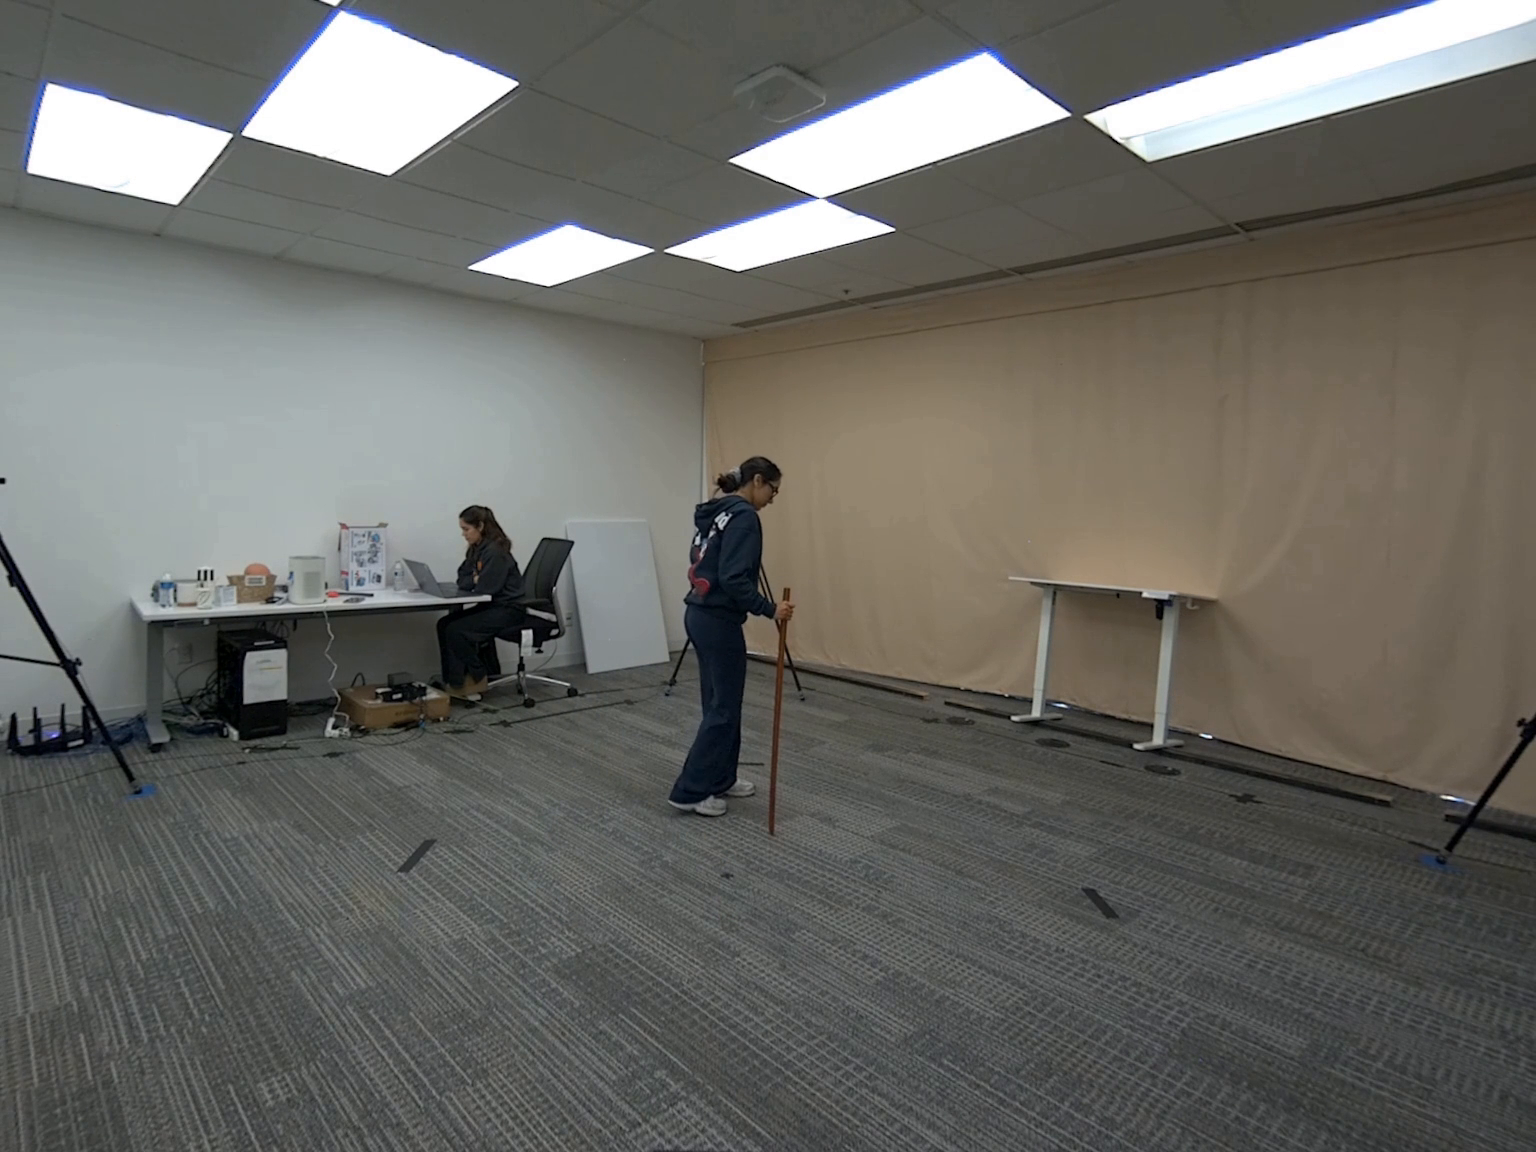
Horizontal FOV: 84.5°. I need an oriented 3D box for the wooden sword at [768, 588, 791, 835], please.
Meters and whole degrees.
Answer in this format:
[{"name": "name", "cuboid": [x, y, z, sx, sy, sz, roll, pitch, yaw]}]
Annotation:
[{"name": "wooden sword", "cuboid": [0.035, 0.576, 3.556, 0.052, 1.029, 0.023, 1, -7, 29]}]
